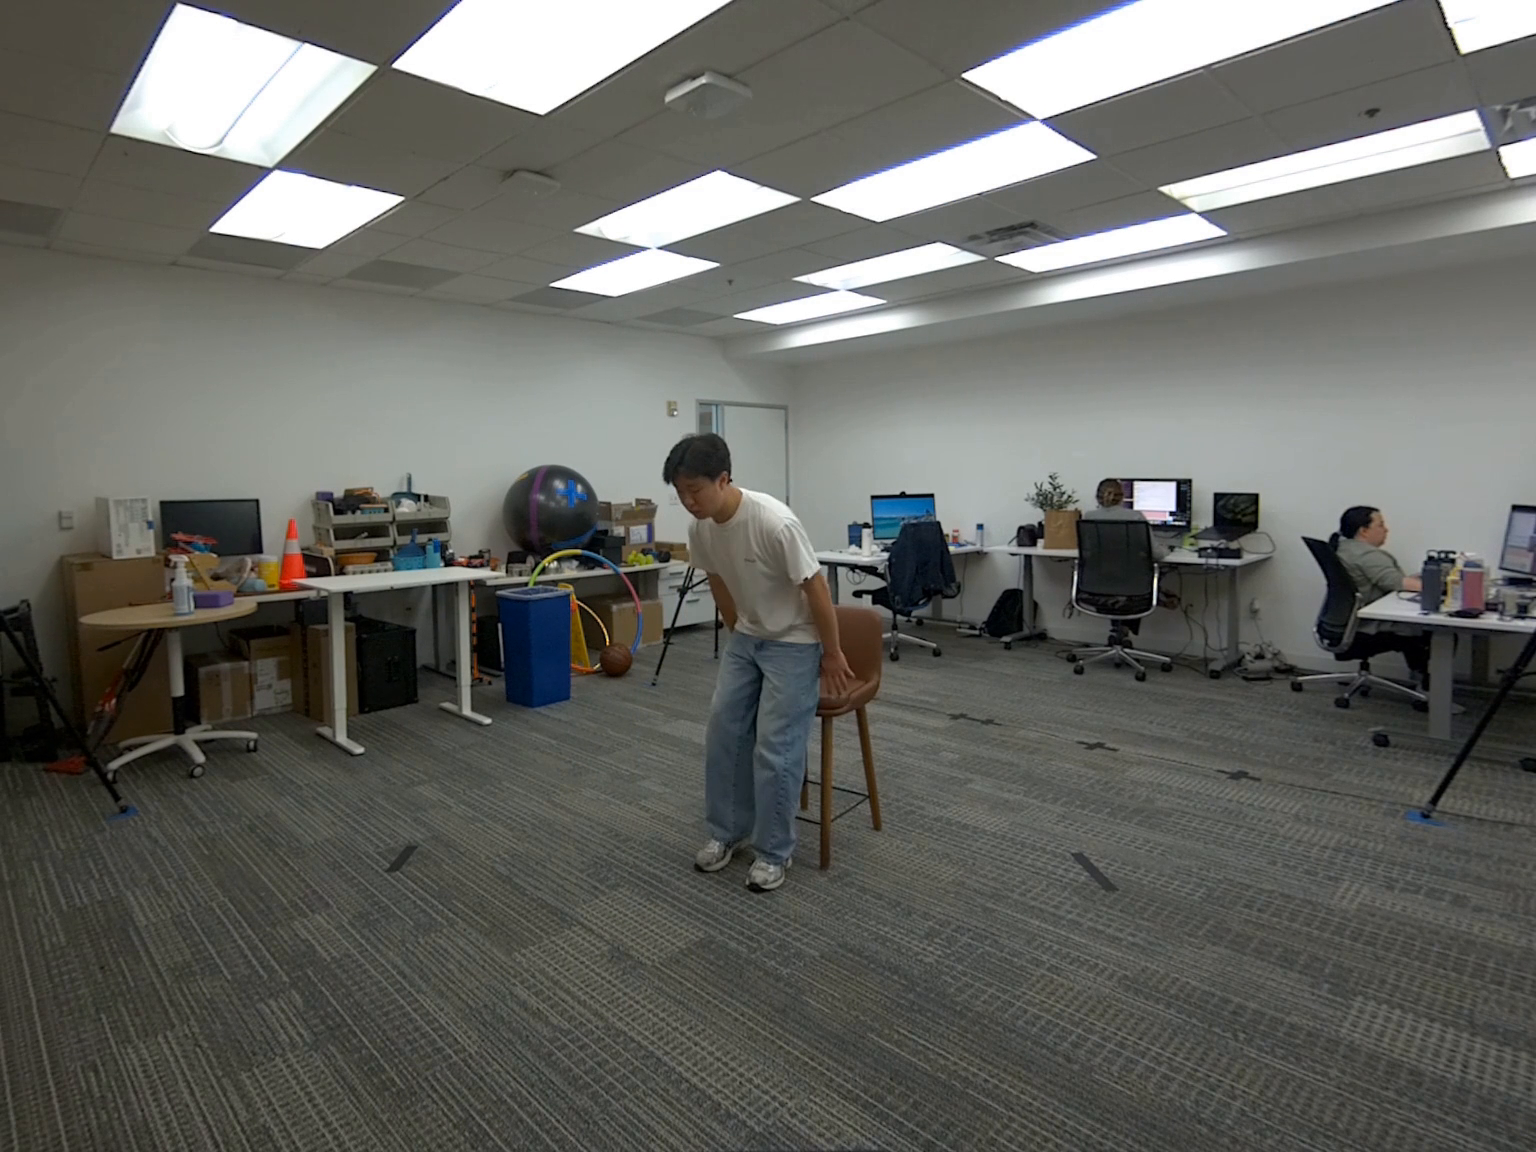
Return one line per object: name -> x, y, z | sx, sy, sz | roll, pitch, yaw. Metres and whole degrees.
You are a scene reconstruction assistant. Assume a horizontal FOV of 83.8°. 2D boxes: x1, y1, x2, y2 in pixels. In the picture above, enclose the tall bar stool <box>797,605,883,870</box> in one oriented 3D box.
tall bar stool -> 0.180, 0.581, 3.321 | 0.470, 0.887, 0.455 | 3, 4, 37
